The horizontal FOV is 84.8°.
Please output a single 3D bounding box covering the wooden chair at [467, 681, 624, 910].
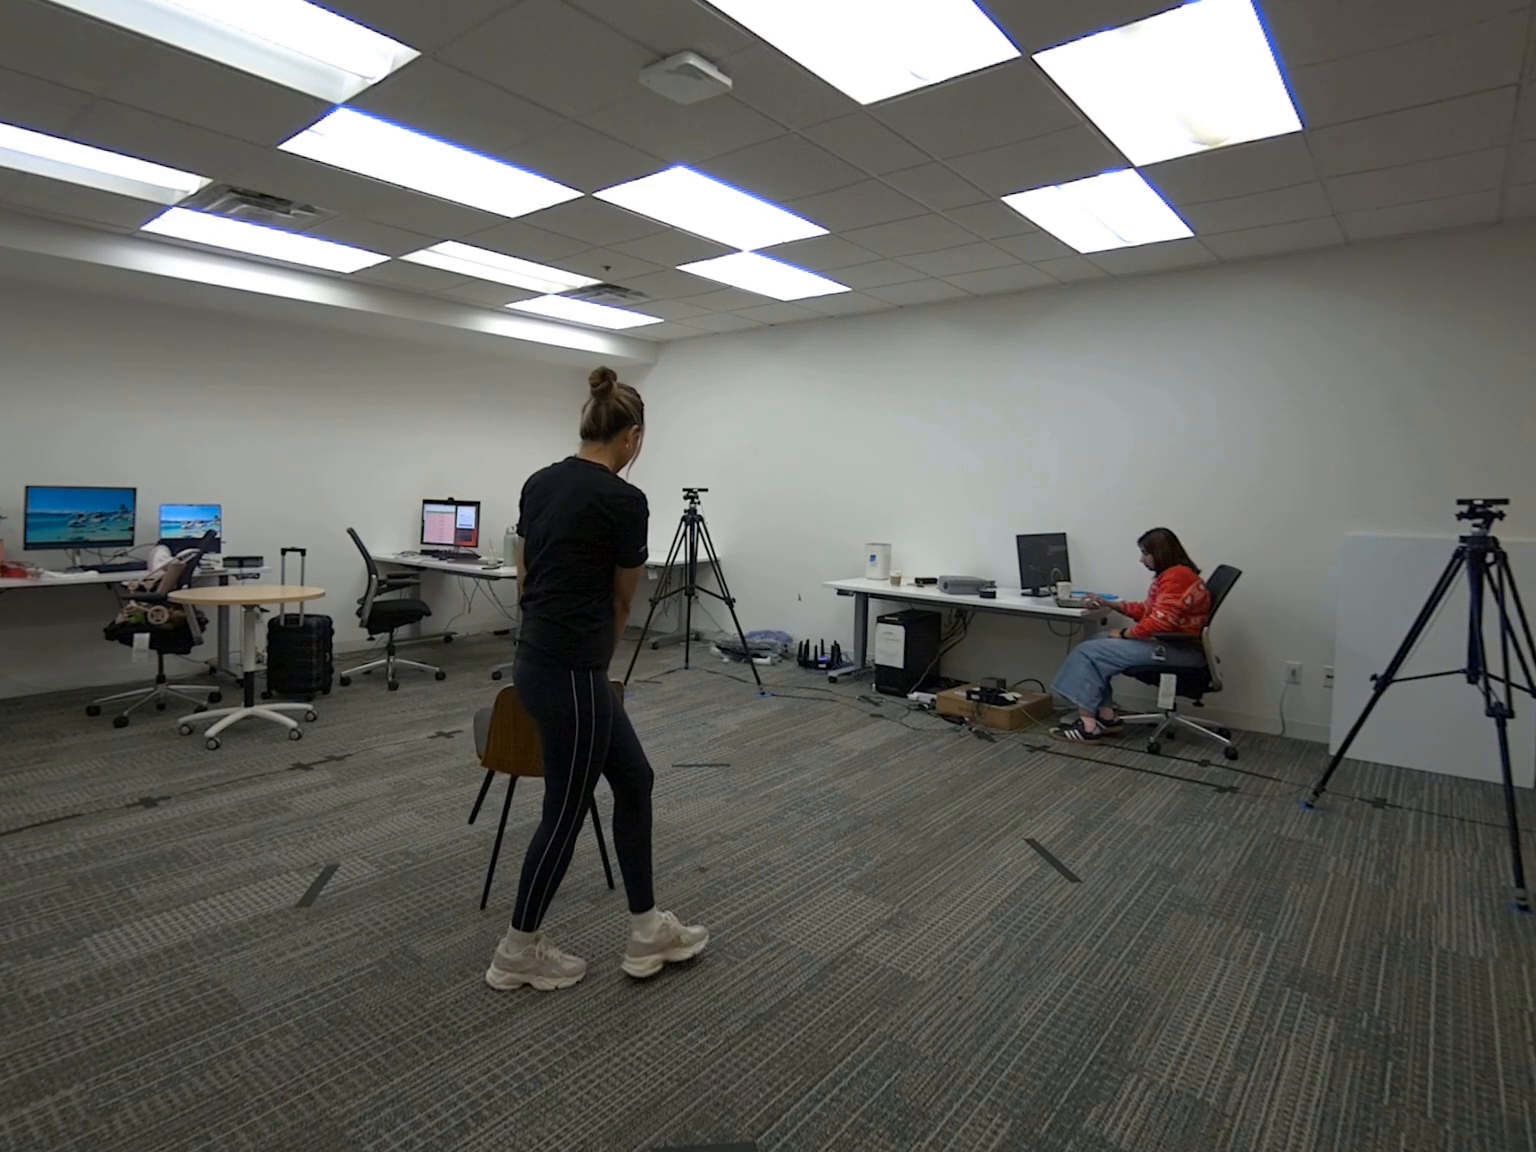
[{"bbox_3d":[-0.780,0.603,2.926,0.468,0.863,0.543,-1,24,-23],"label":"wooden chair"}]
